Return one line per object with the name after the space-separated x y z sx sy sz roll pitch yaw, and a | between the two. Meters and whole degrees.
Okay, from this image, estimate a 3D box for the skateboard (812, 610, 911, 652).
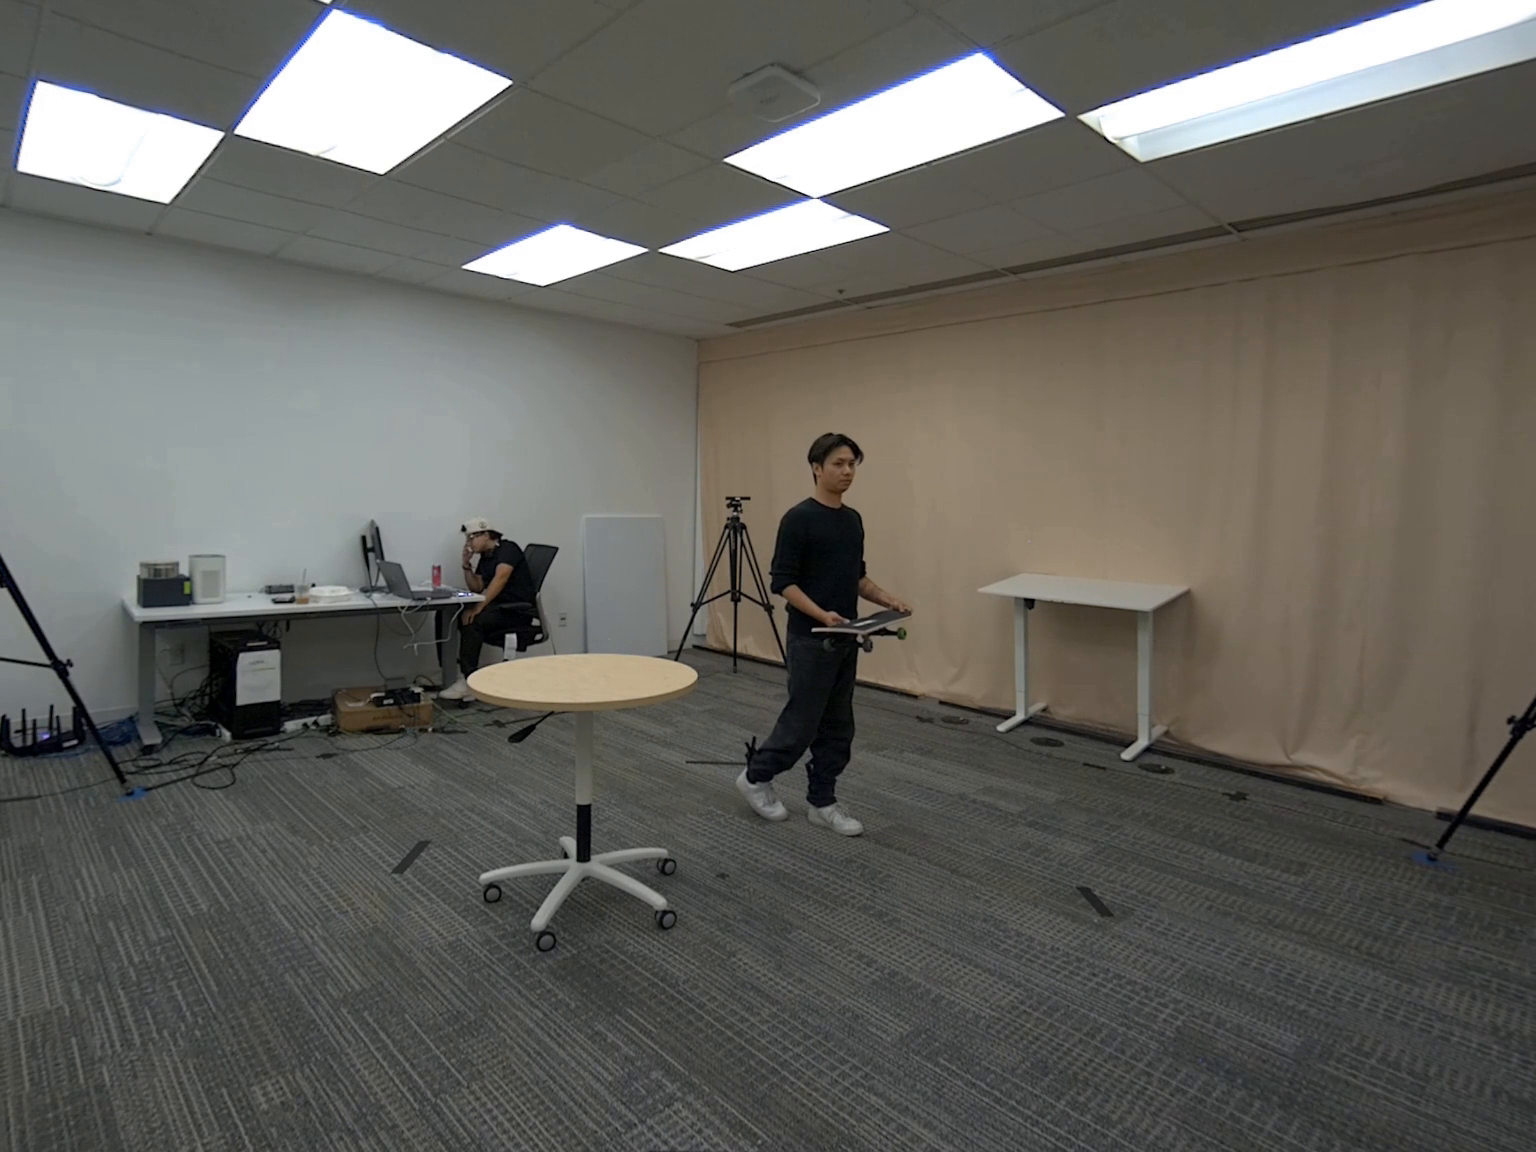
0.382 0.220 3.313 0.197 0.110 0.772 -3 3 26 | skateboard
